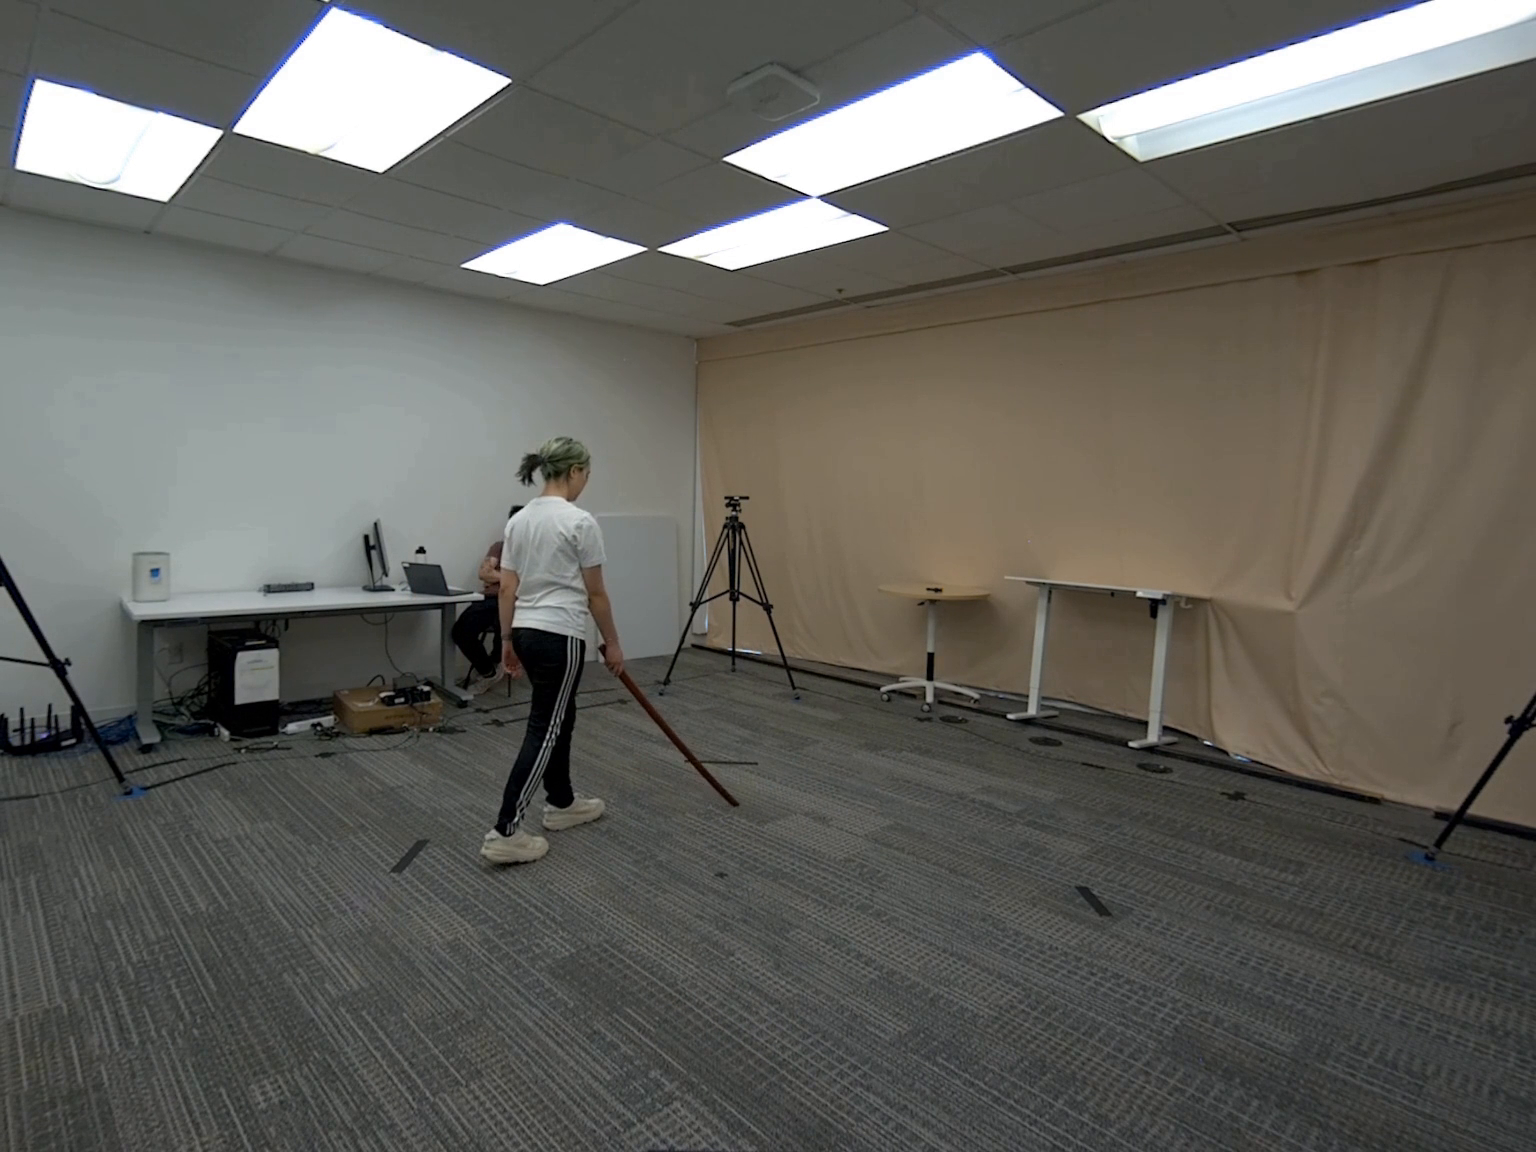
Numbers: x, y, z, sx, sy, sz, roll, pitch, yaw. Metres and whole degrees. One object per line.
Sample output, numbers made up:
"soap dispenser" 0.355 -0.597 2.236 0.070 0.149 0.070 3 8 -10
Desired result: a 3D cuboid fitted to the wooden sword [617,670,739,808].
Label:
"wooden sword" -0.431 0.685 3.646 0.052 1.001 0.024 -27 25 24
